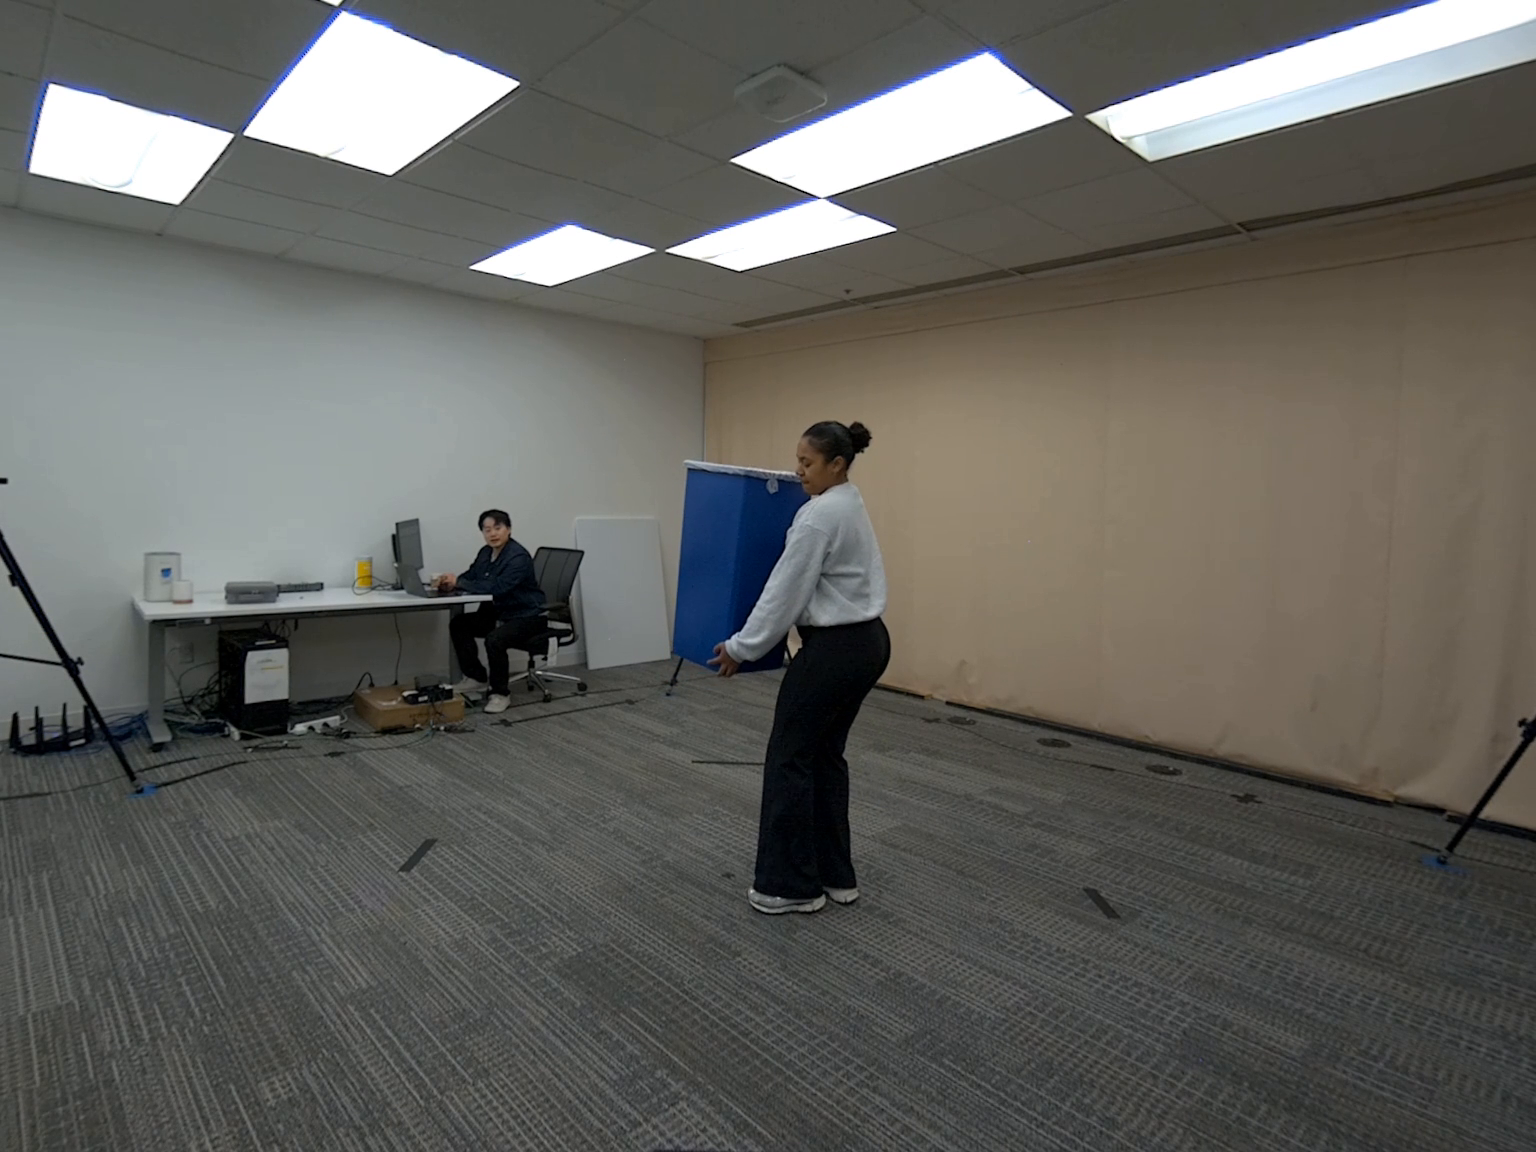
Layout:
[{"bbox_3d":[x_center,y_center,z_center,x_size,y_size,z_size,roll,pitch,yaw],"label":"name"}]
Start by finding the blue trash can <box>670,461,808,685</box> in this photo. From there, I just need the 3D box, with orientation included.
[{"bbox_3d":[-0.116,-0.031,3.079,0.365,0.711,0.389,2,8,-44],"label":"blue trash can"}]
